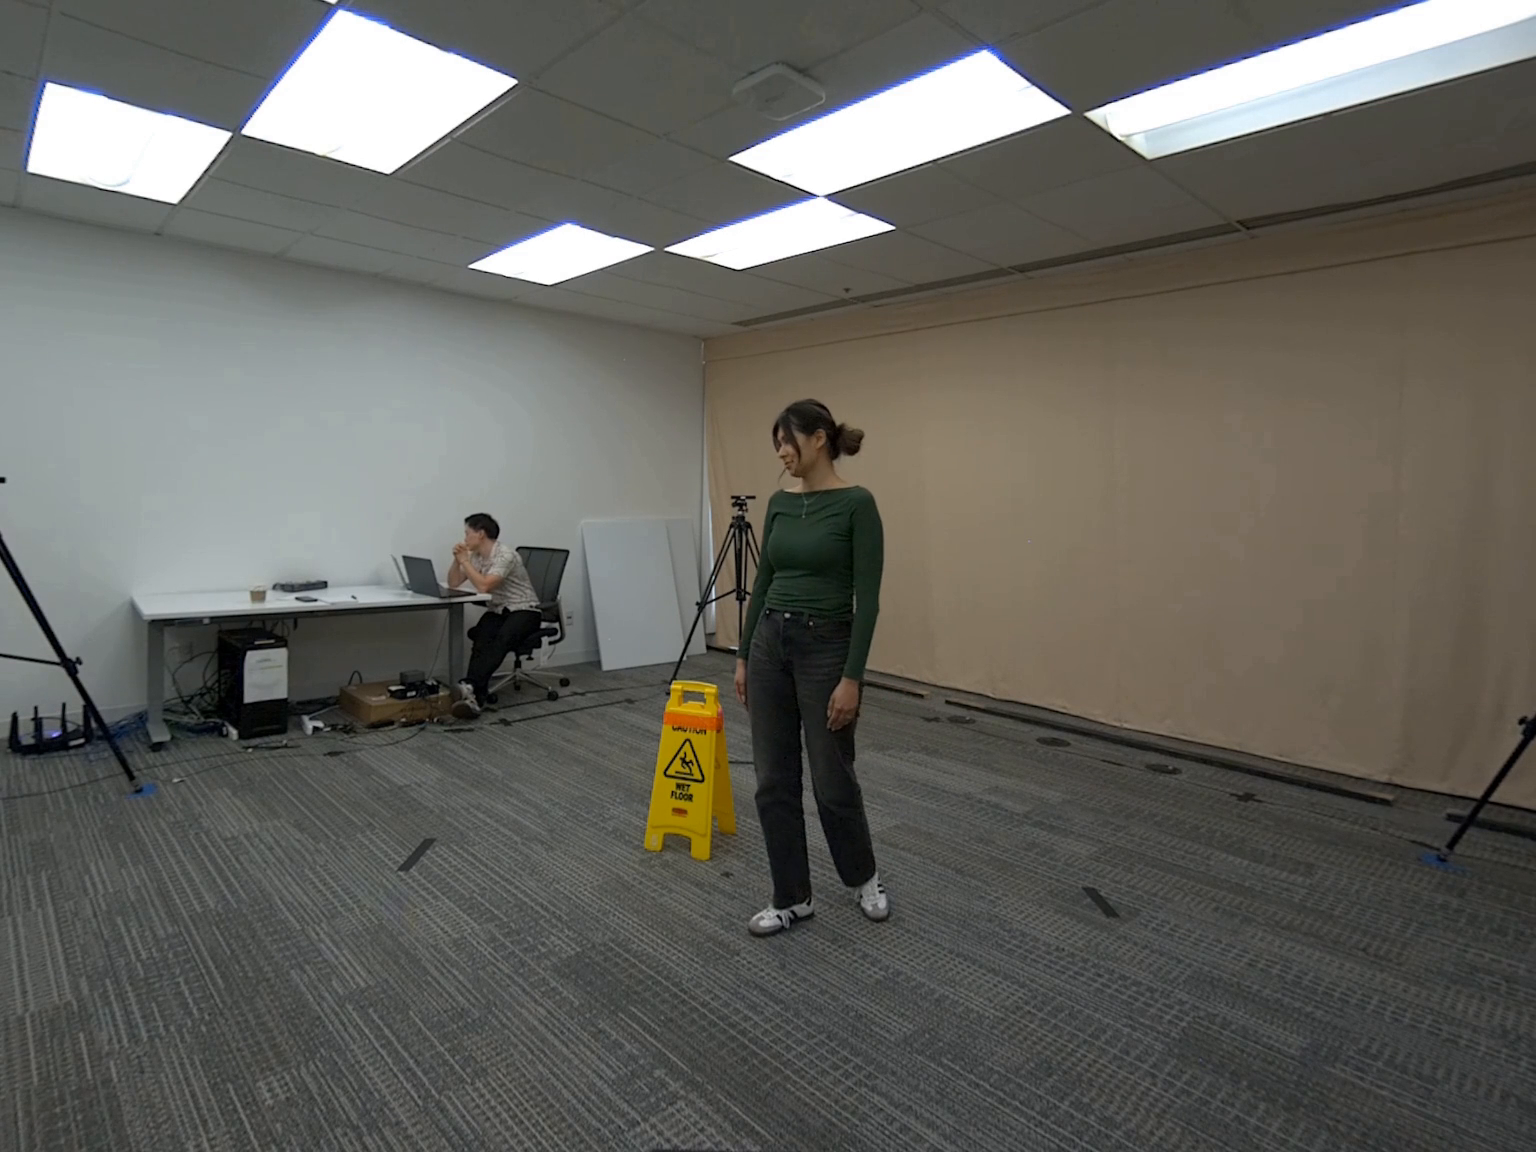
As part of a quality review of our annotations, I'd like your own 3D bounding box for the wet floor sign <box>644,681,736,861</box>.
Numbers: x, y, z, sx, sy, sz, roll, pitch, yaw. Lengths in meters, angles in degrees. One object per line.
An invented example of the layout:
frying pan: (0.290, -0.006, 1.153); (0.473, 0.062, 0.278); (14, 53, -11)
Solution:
wet floor sign: (-0.312, 0.750, 3.386); (0.287, 0.644, 0.286); (1, 3, 20)
